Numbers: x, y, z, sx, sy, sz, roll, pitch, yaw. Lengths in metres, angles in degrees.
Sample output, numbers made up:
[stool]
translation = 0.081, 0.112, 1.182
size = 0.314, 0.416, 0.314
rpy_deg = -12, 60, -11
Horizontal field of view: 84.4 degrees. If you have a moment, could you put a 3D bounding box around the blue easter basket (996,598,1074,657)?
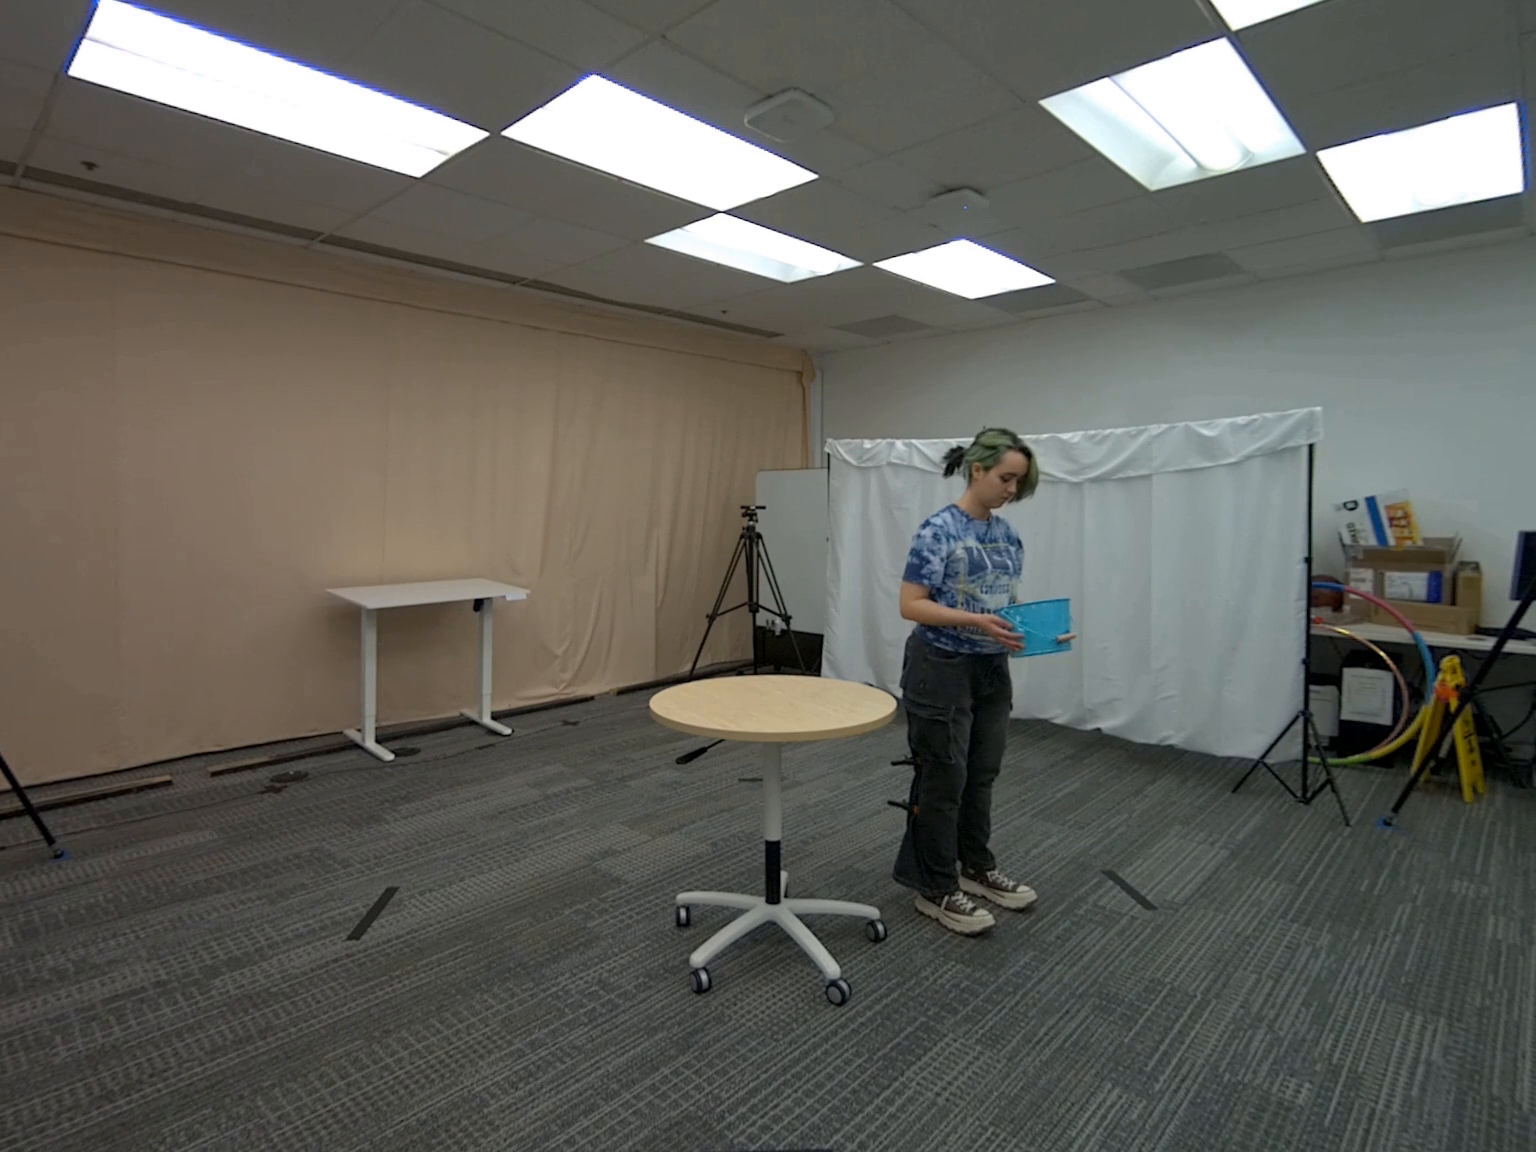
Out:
[blue easter basket]
translation = 0.834, 0.173, 2.594
size = 0.243, 0.157, 0.243
rpy_deg = -5, -7, -3
